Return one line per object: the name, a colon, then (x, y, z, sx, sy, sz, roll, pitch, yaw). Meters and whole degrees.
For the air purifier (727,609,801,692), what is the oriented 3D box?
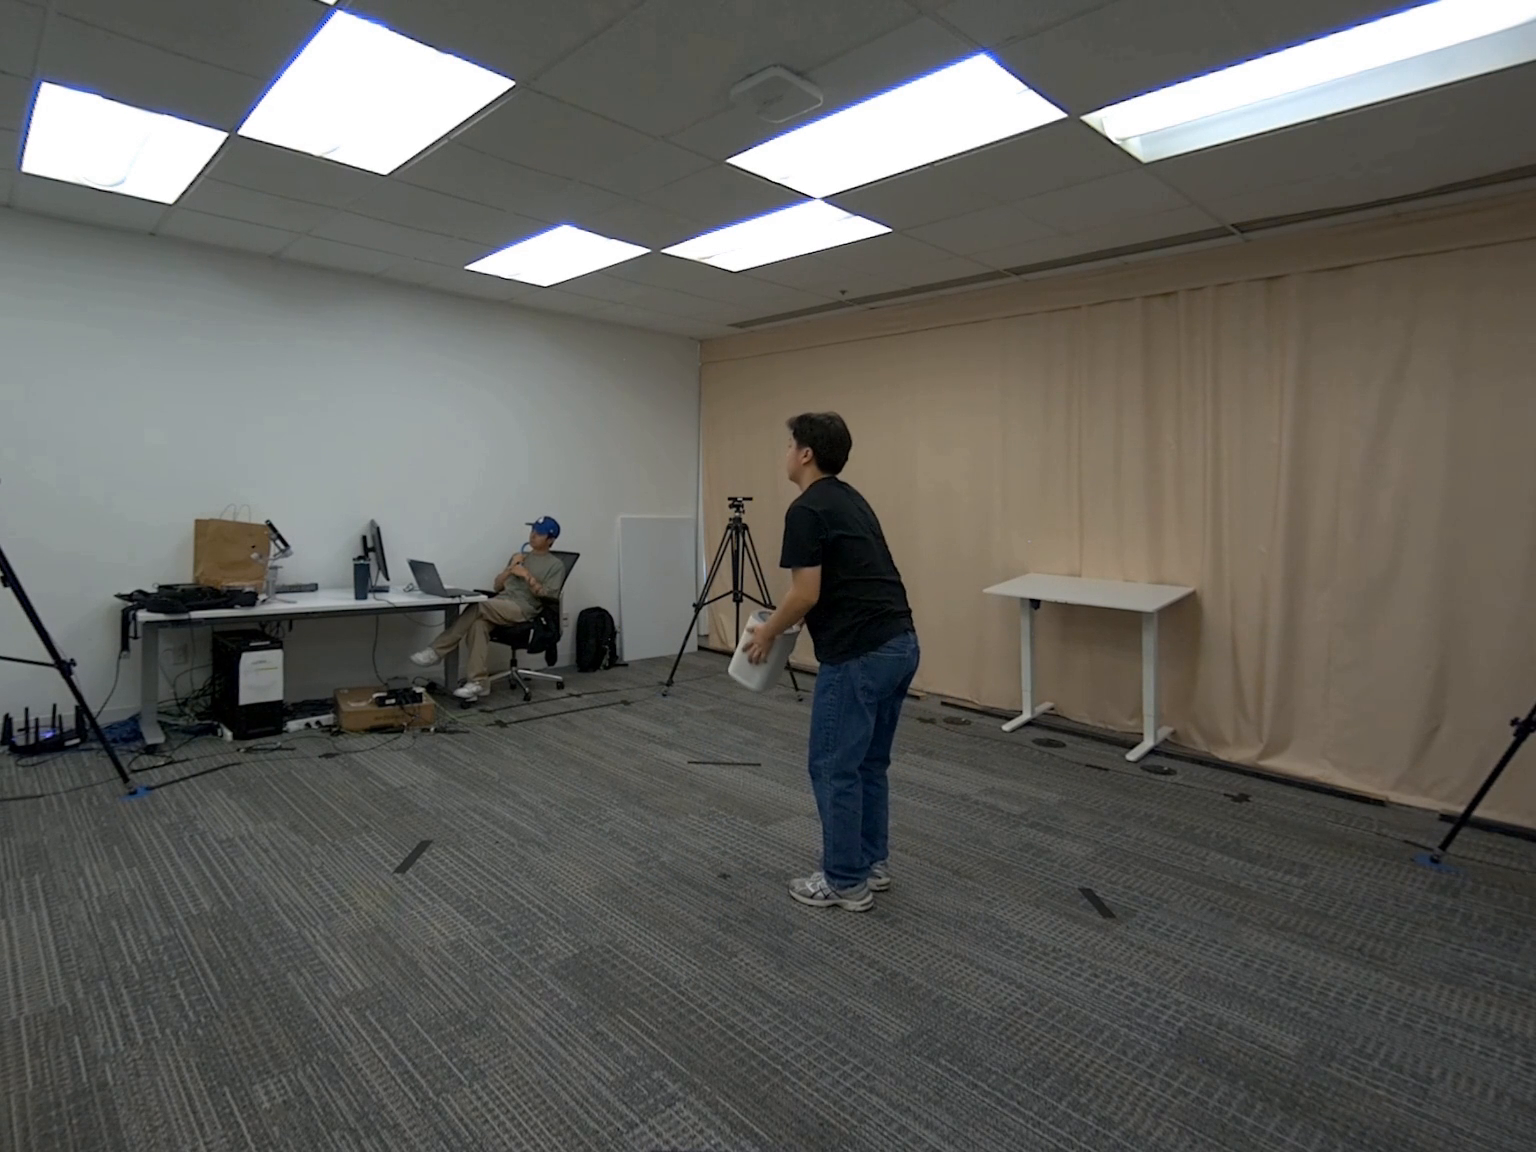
air purifier: (-0.019, 0.284, 3.124, 0.175, 0.263, 0.168, 28, 18, 23)
